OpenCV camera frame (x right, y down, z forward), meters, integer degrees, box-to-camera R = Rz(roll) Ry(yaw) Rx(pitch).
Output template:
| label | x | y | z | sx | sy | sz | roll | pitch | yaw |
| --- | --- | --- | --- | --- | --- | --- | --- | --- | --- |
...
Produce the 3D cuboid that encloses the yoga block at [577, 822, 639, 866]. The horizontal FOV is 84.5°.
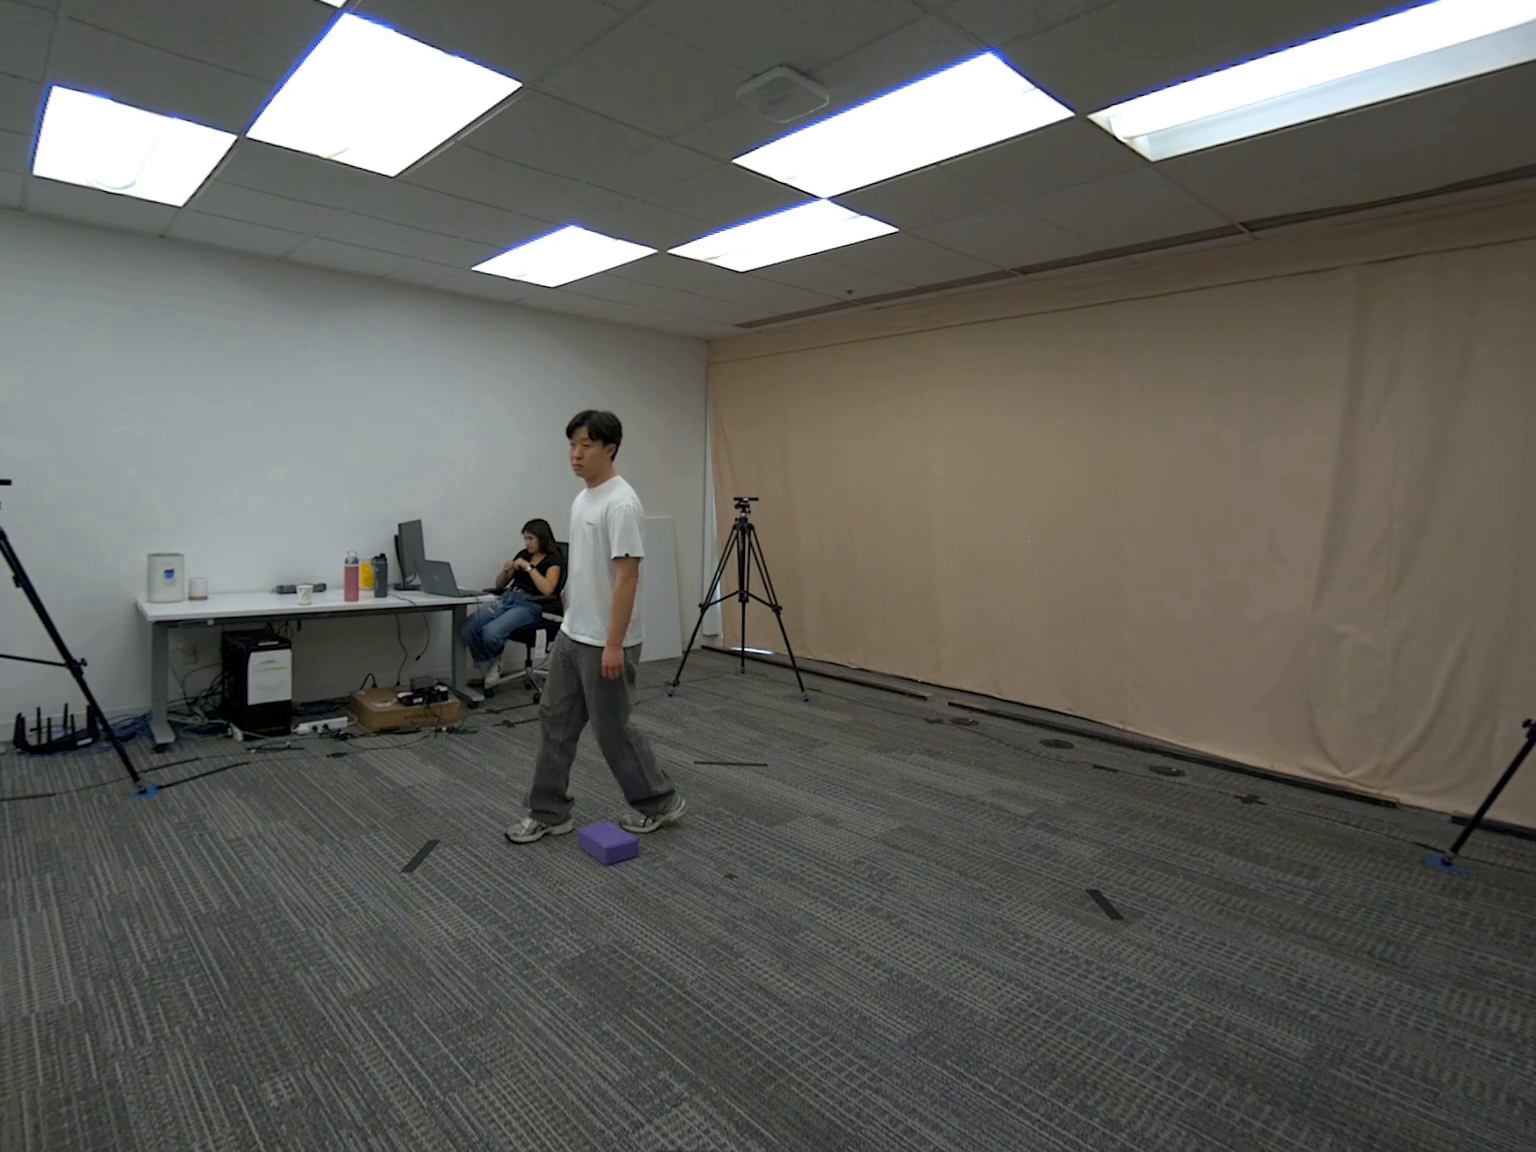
| label | x | y | z | sx | sy | sz | roll | pitch | yaw |
| --- | --- | --- | --- | --- | --- | --- | --- | --- | --- |
| yoga block | -0.637 | 1.045 | 3.285 | 0.146 | 0.076 | 0.235 | -4 | 7 | -41 |
